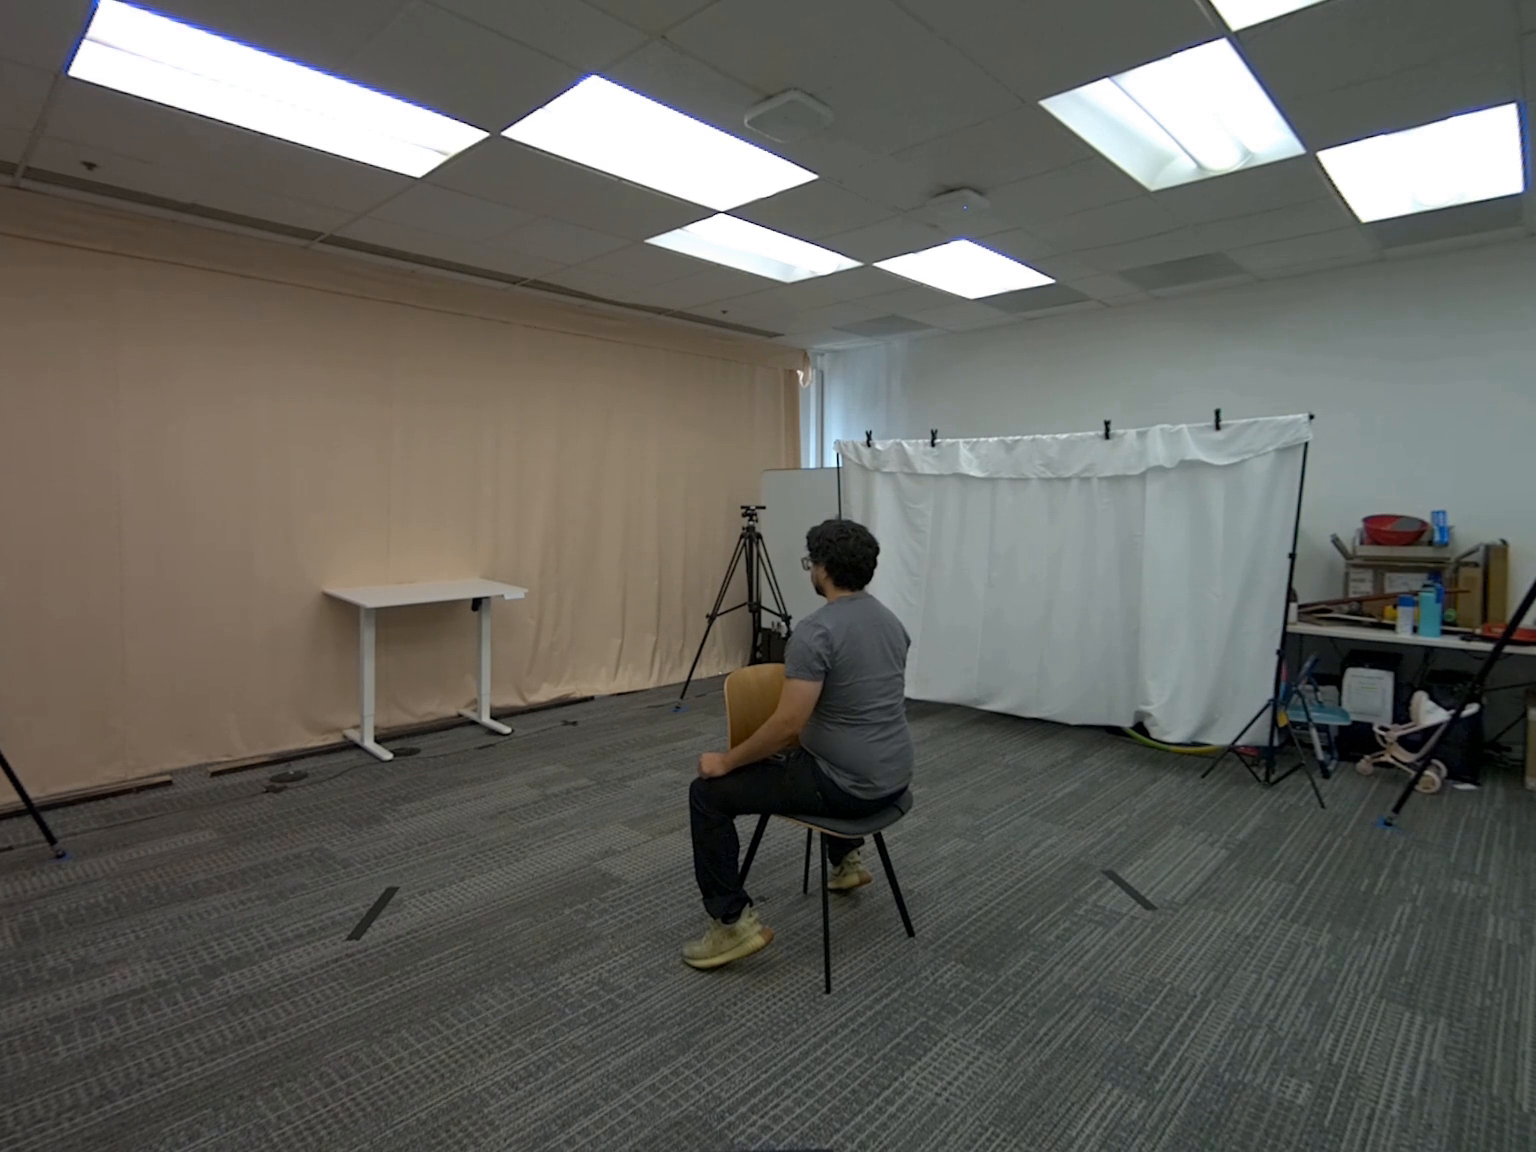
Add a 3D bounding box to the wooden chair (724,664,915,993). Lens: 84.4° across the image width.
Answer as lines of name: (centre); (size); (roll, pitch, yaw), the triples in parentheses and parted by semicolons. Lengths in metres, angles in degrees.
wooden chair: (0.166, 0.747, 2.685); (0.539, 0.877, 0.463); (-3, 0, 44)
